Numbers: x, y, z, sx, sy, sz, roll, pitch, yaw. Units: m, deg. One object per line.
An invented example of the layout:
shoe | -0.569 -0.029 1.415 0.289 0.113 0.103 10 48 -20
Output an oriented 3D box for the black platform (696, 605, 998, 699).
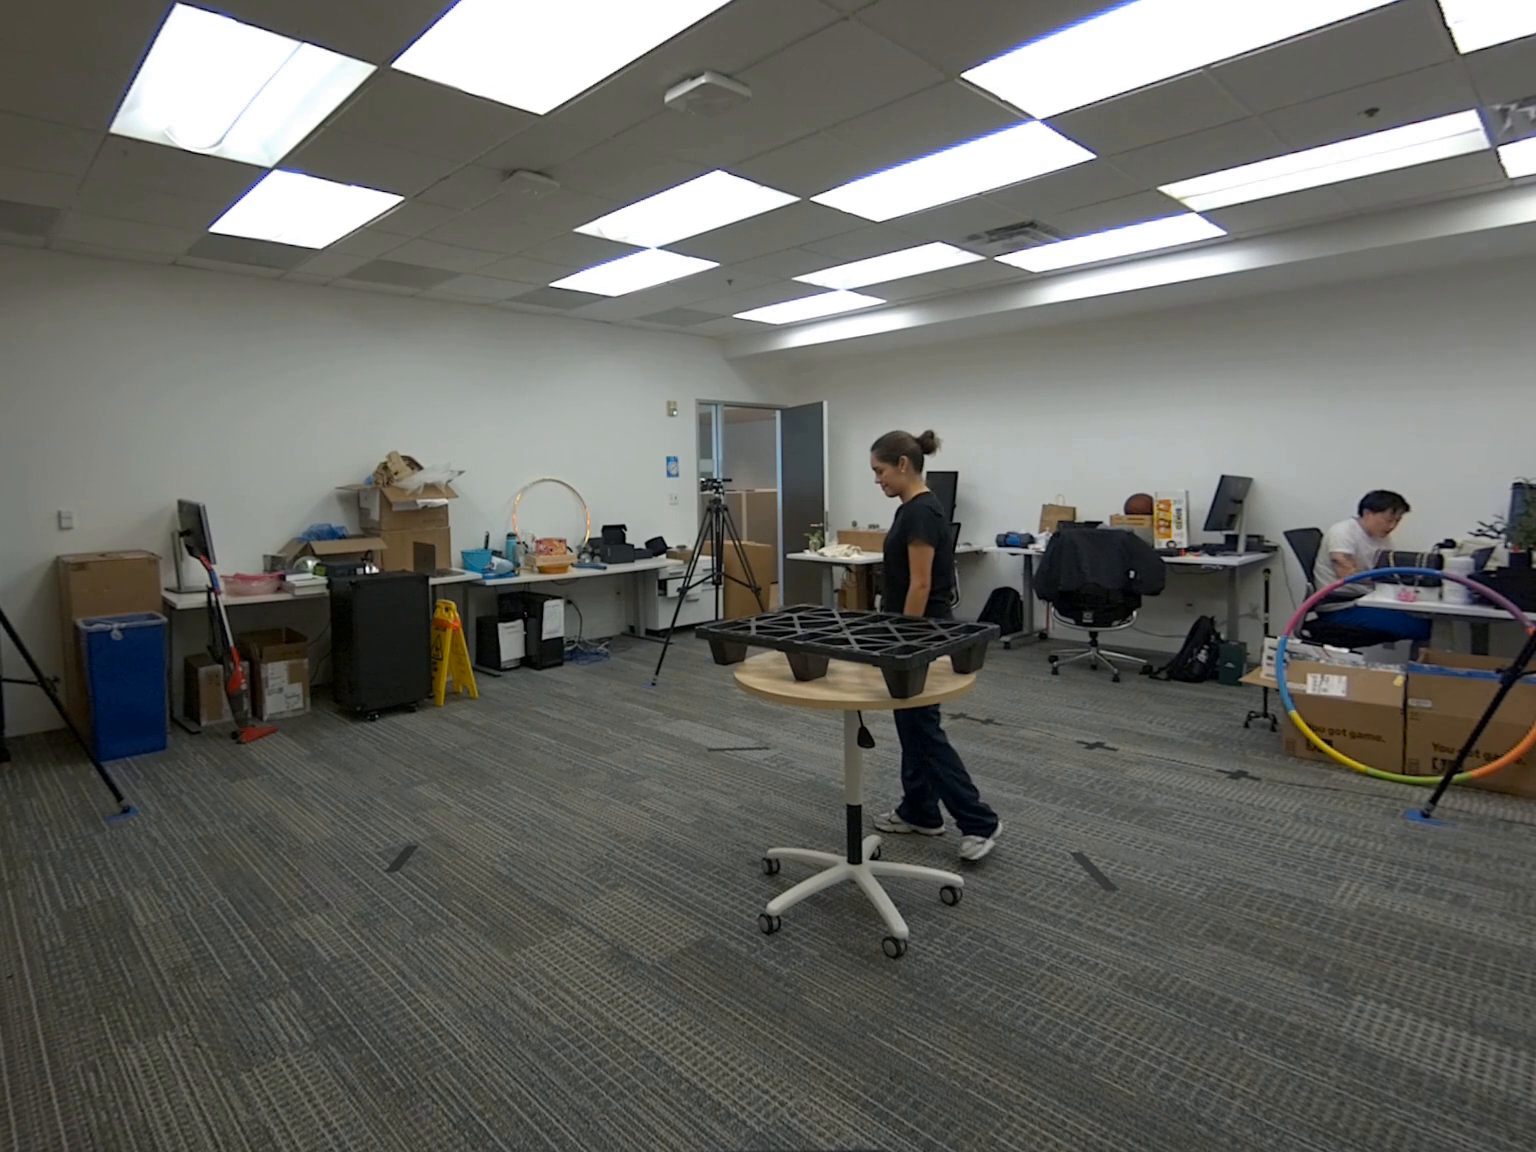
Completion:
black platform | 0.250 0.230 2.787 0.830 0.142 0.590 4 9 41
